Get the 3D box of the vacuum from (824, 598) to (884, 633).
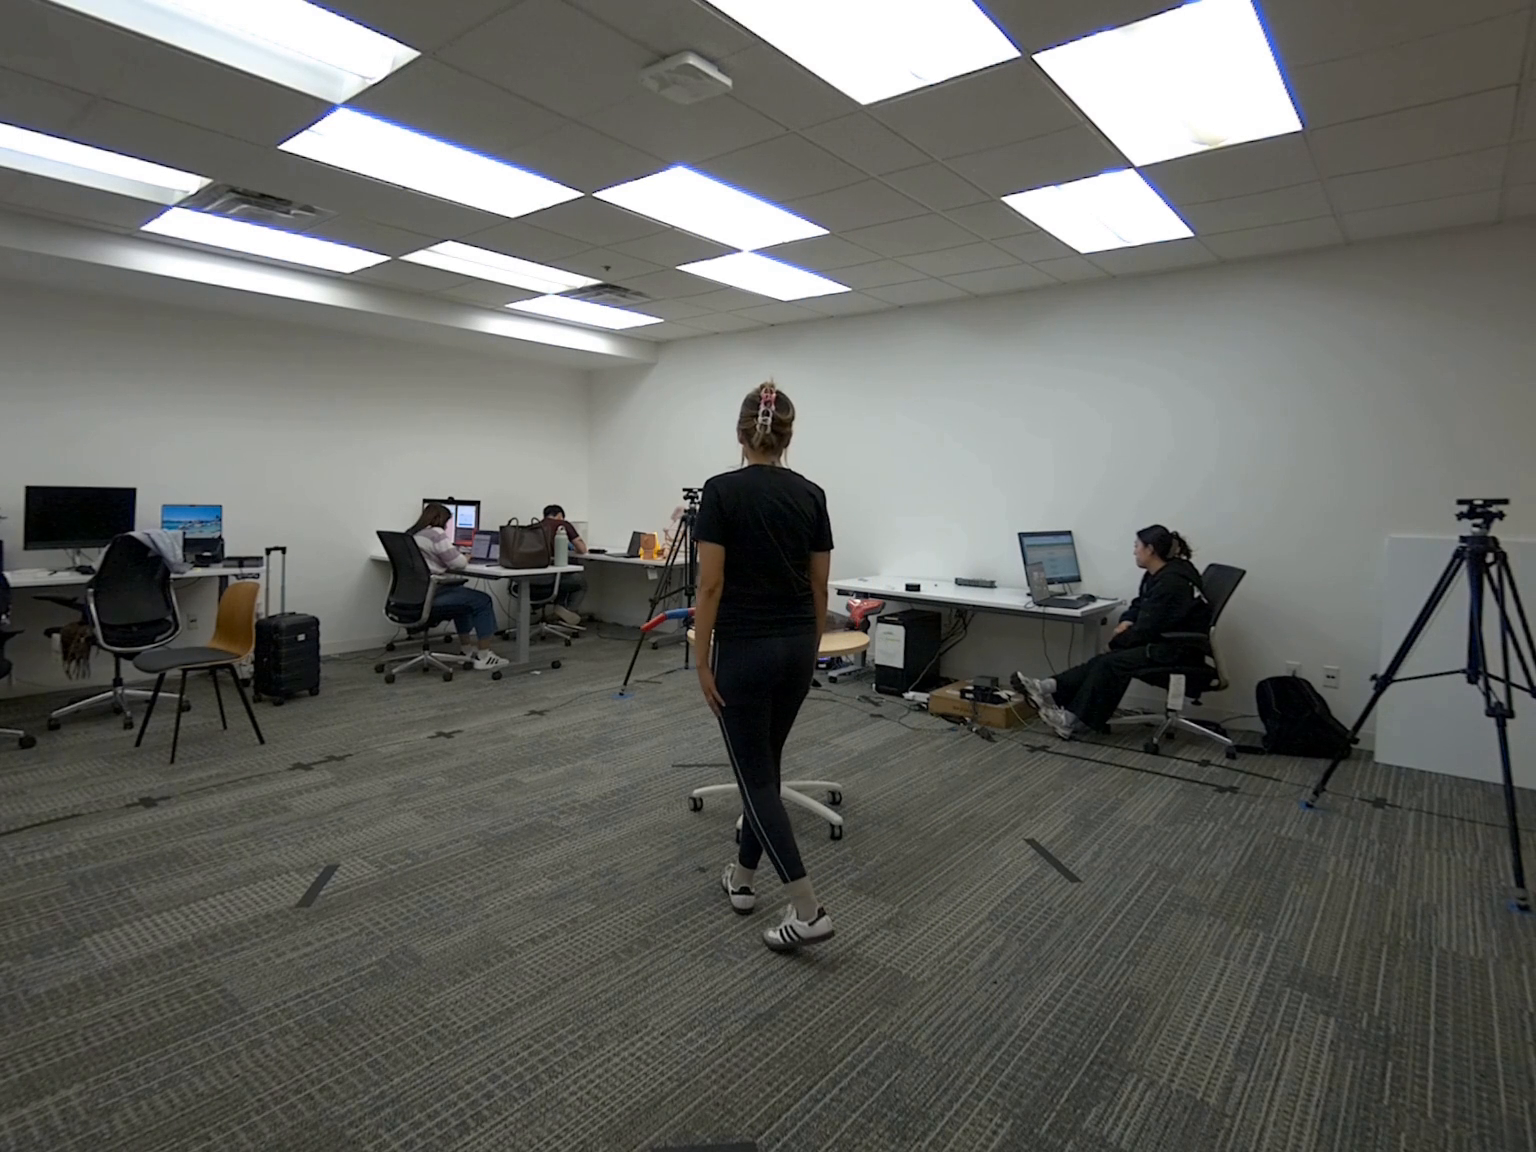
[{"bbox_3d":[-0.036,0.197,3.536,1.024,0.144,0.258,-3,0,-27],"label":"vacuum"}]
